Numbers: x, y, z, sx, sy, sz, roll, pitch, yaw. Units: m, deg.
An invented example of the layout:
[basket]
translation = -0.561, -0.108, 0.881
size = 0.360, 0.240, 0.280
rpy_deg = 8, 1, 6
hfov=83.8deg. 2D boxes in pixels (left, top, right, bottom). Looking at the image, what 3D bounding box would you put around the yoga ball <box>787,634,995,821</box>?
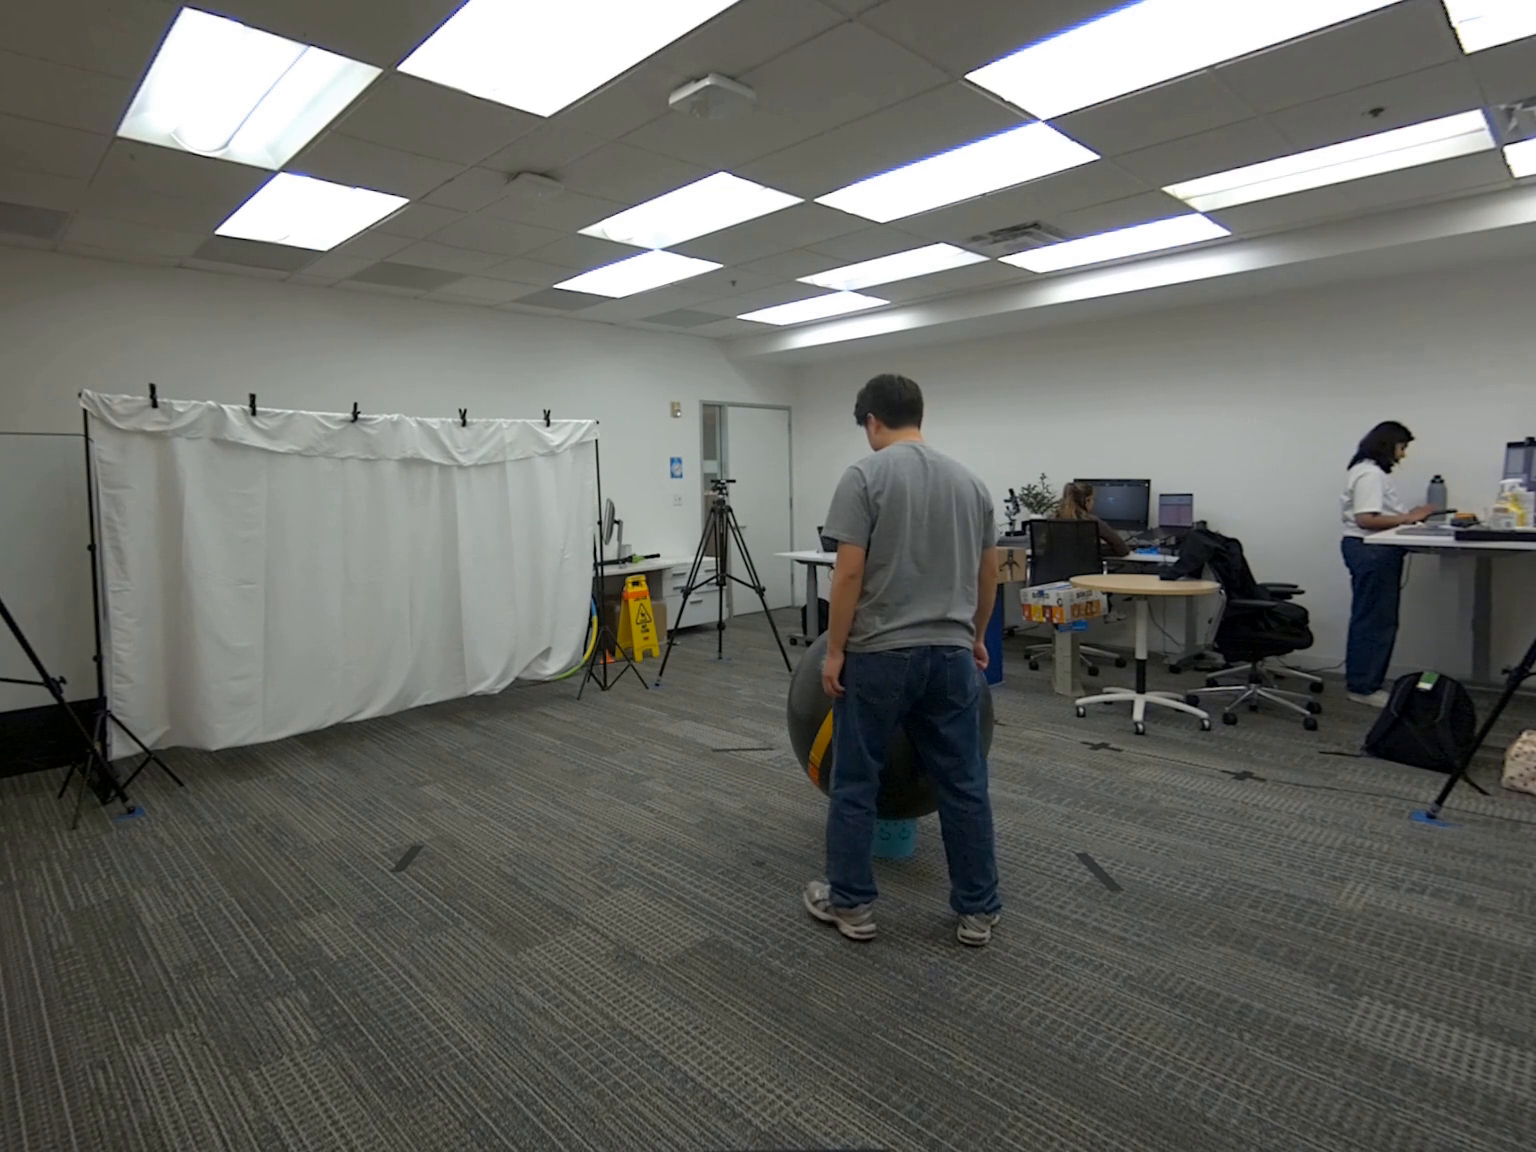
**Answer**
[yoga ball]
translation = 0.454, 0.520, 3.192
size = 0.757, 0.755, 0.762
rpy_deg = -1, 5, -2
